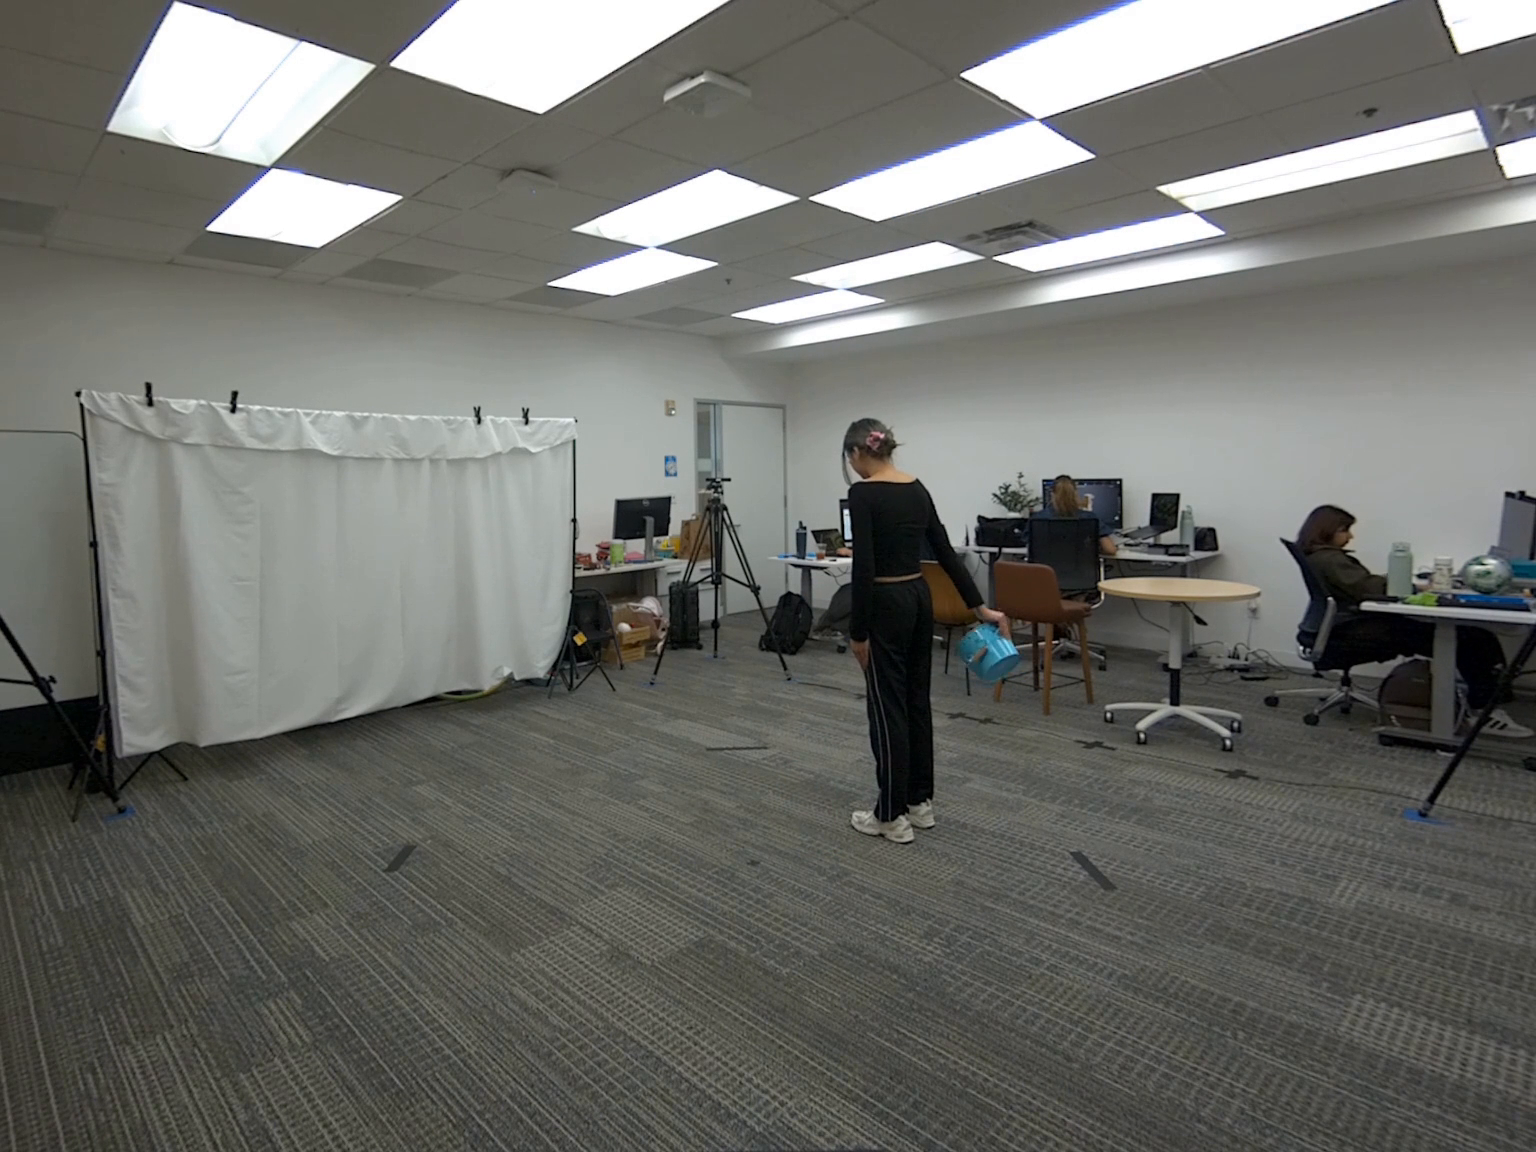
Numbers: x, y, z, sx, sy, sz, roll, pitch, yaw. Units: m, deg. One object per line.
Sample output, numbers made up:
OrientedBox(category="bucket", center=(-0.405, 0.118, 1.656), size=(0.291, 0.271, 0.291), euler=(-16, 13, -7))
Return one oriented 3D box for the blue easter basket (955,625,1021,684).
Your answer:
OrientedBox(category="blue easter basket", center=(0.870, 0.310, 3.421), size=(0.237, 0.241, 0.161), euler=(-4, 47, -34))
